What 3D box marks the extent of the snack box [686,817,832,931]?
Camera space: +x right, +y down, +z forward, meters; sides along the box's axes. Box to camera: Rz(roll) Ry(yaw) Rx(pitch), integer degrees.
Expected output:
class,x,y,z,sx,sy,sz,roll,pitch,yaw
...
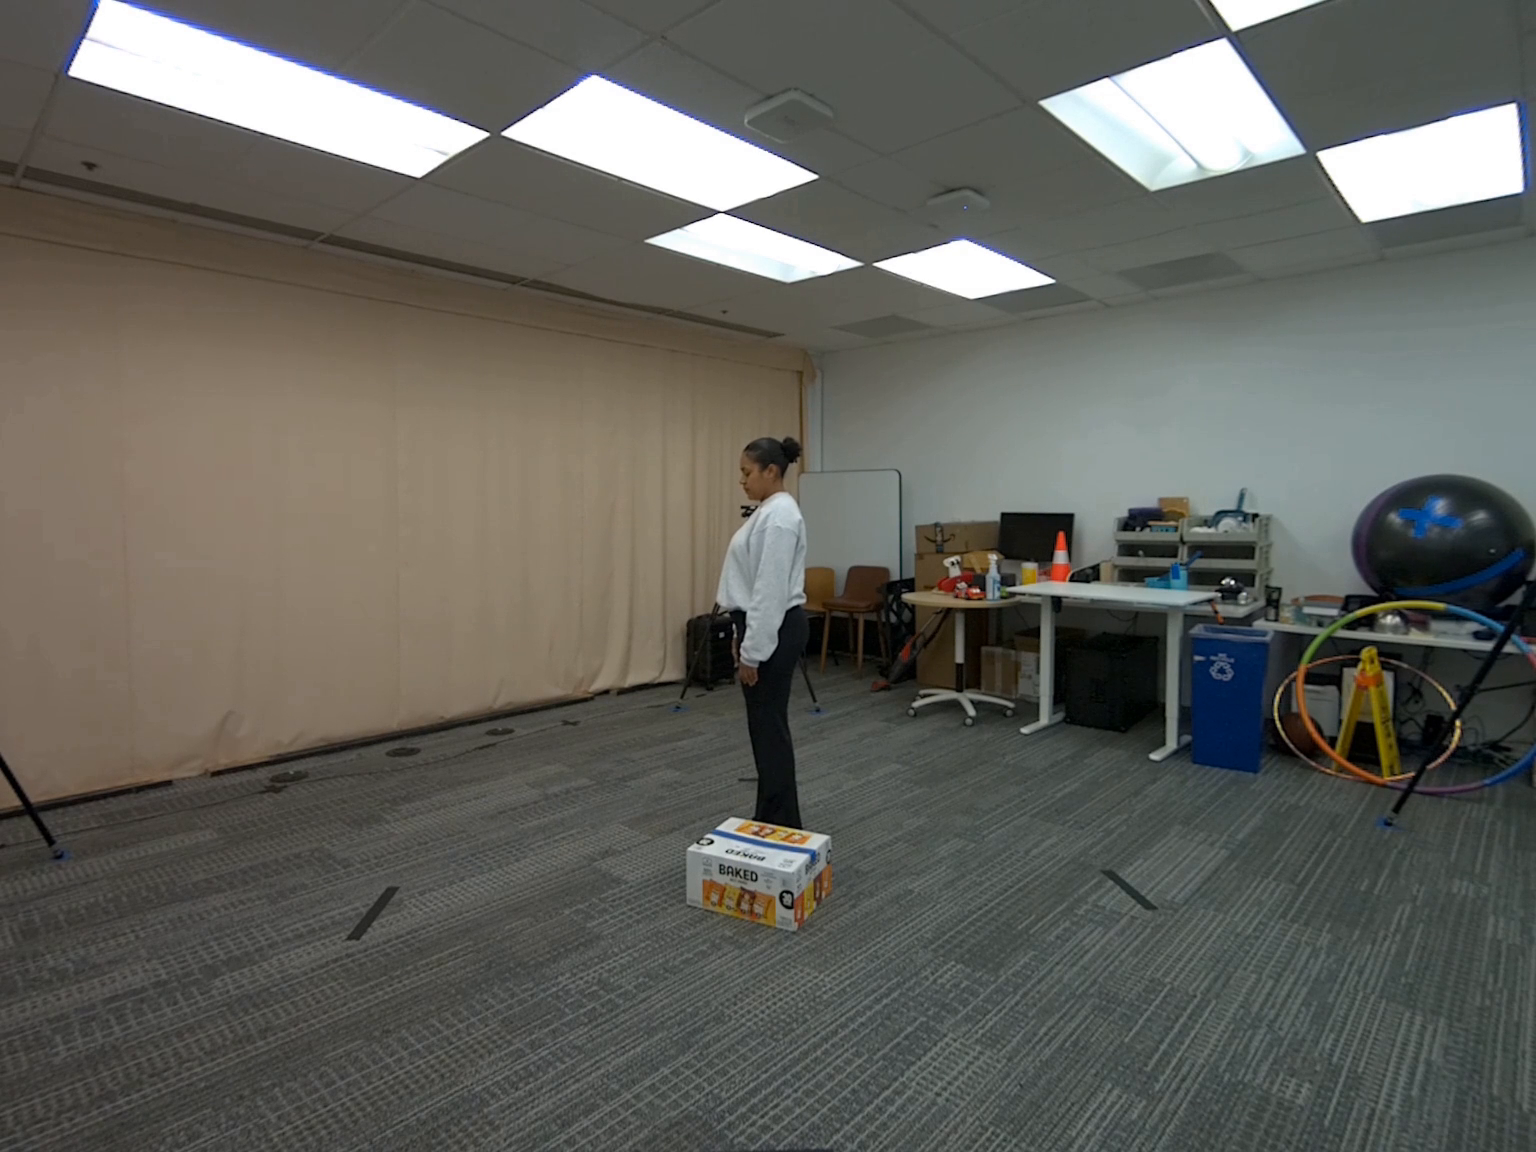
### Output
class,x,y,z,sx,sy,sz,roll,pitch,yaw
snack box,-0.025,1.044,2.977,0.416,0.205,0.332,2,4,27
